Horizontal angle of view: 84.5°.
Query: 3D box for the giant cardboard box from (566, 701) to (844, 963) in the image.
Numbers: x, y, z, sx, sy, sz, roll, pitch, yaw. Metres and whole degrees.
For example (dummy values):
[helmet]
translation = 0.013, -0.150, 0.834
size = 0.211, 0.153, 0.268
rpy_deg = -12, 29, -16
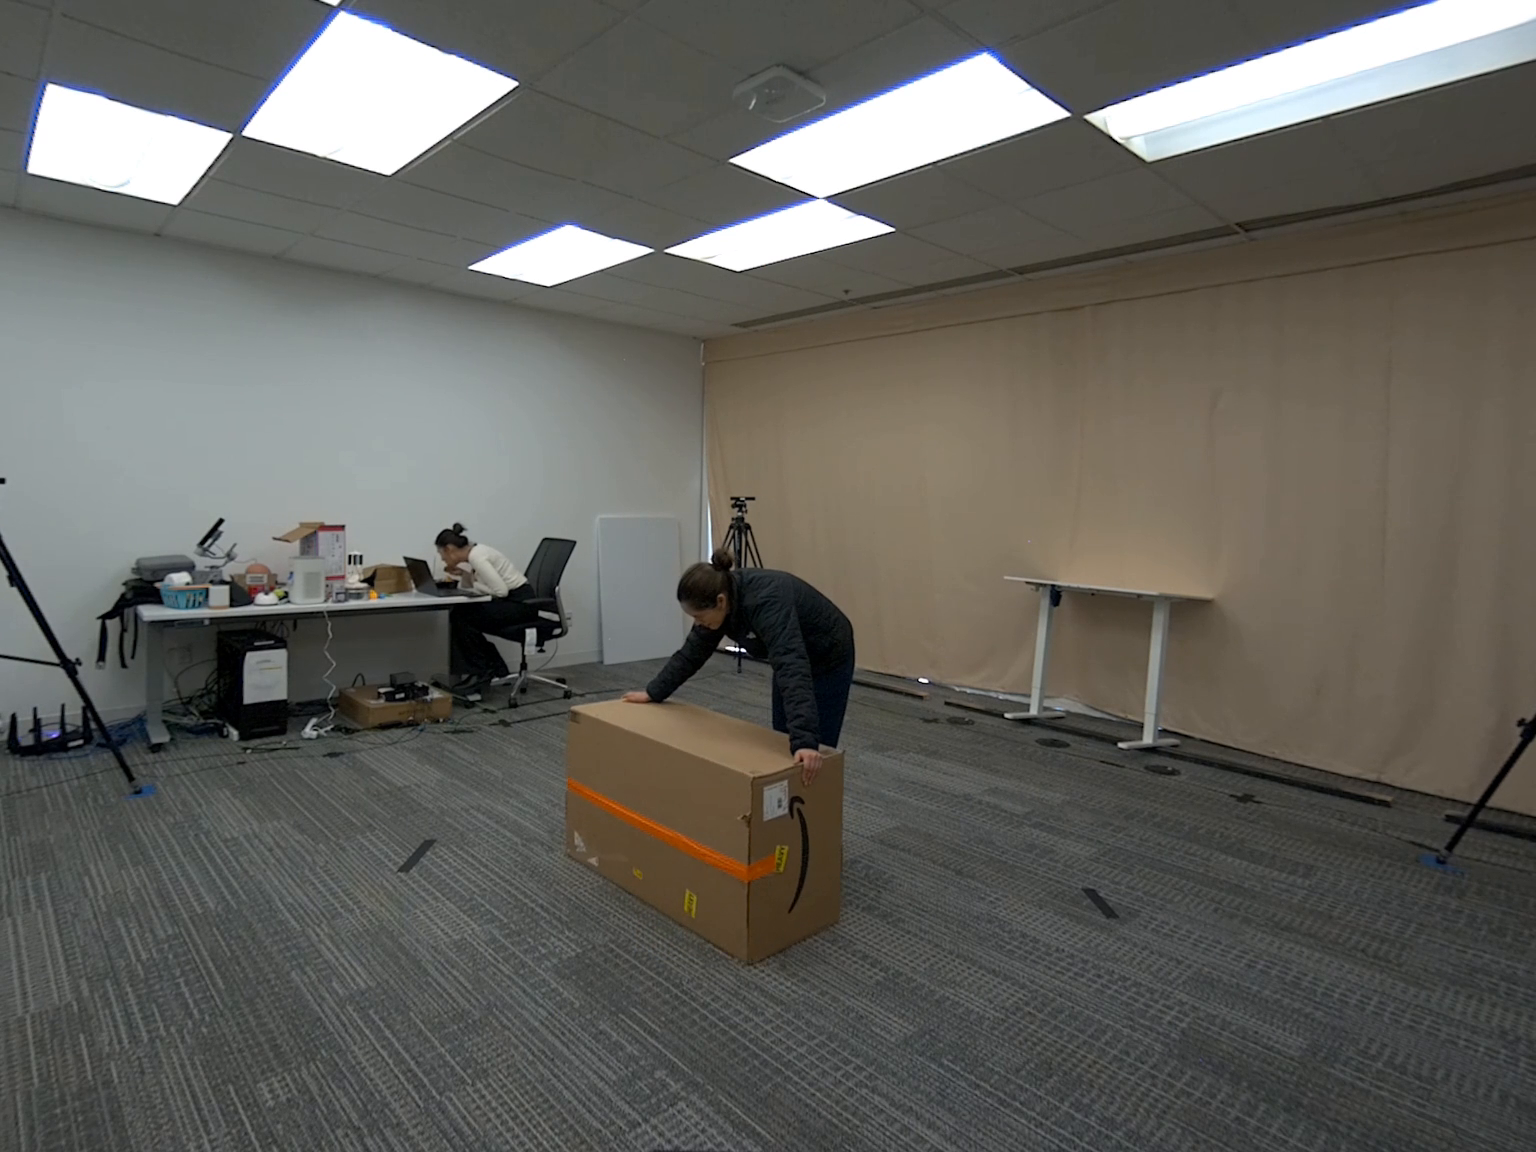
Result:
[giant cardboard box]
translation = -0.266, 0.830, 2.985
size = 0.436, 0.583, 1.053
rpy_deg = 0, 4, -43
